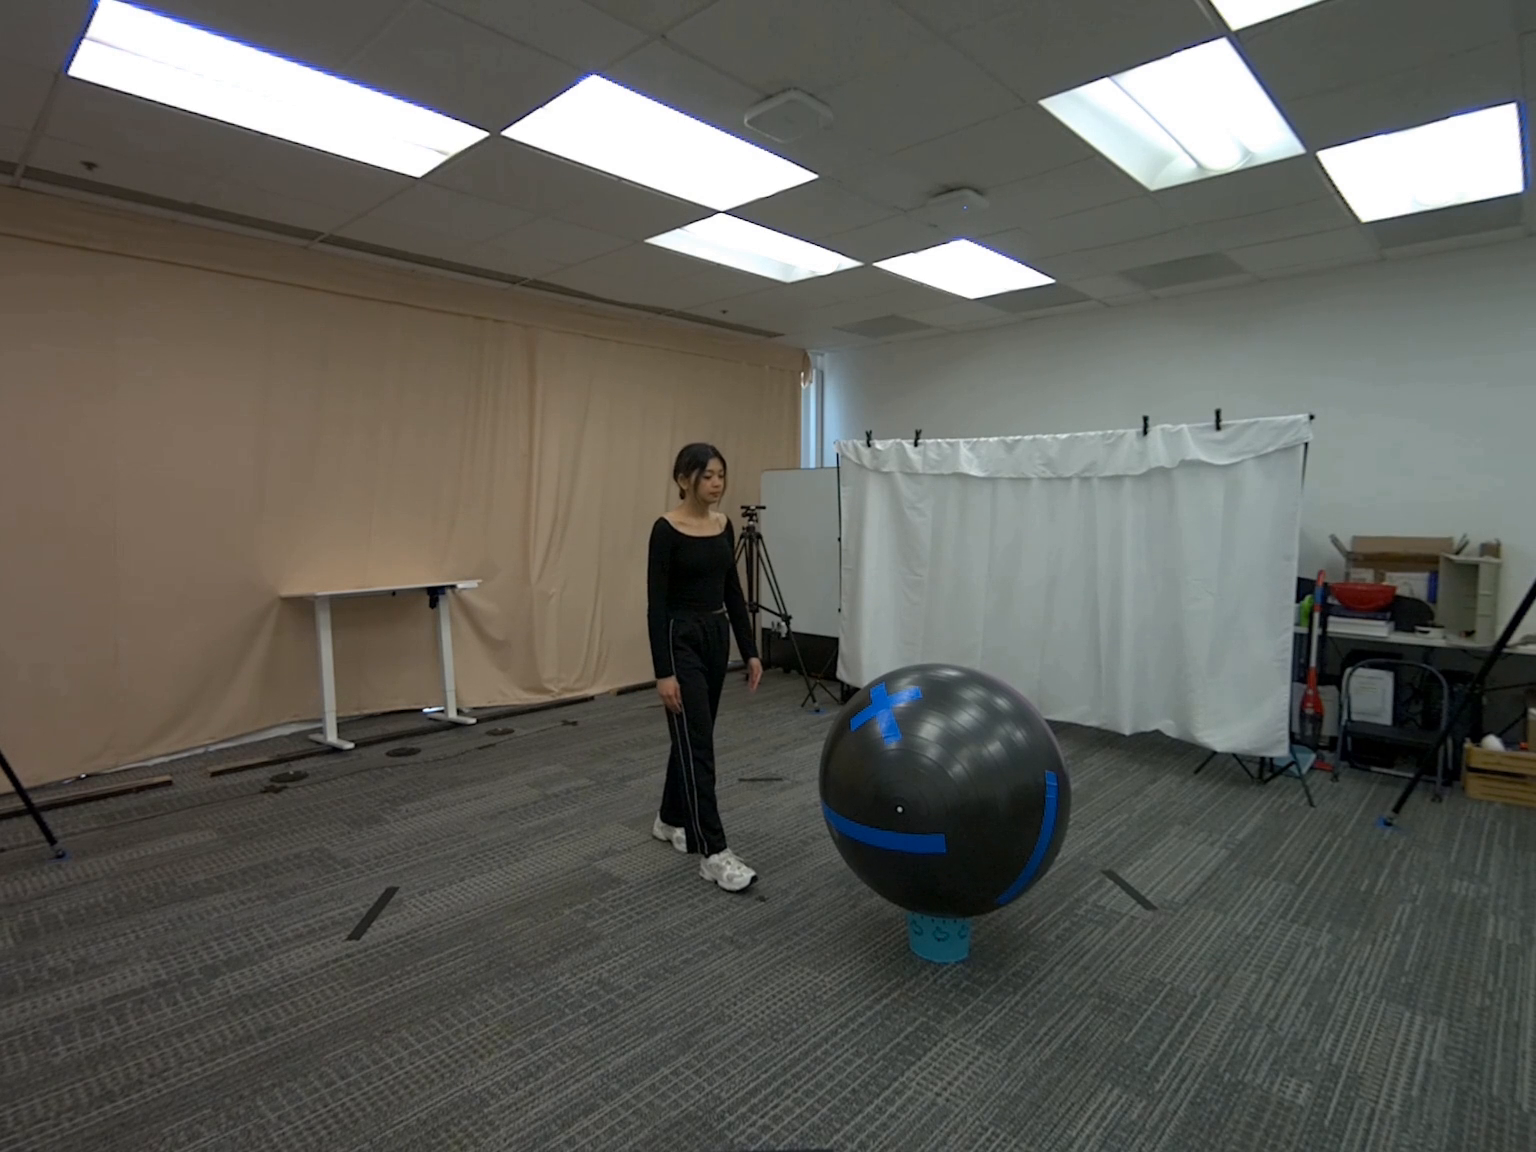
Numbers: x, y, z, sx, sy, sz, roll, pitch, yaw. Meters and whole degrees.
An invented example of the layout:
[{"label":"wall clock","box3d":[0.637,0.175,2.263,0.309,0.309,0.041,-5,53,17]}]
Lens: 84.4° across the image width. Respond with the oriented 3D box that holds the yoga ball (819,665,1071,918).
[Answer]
[{"label":"yoga ball","box3d":[0.544,0.657,2.637,0.757,0.756,0.760,0,4,-2]}]
